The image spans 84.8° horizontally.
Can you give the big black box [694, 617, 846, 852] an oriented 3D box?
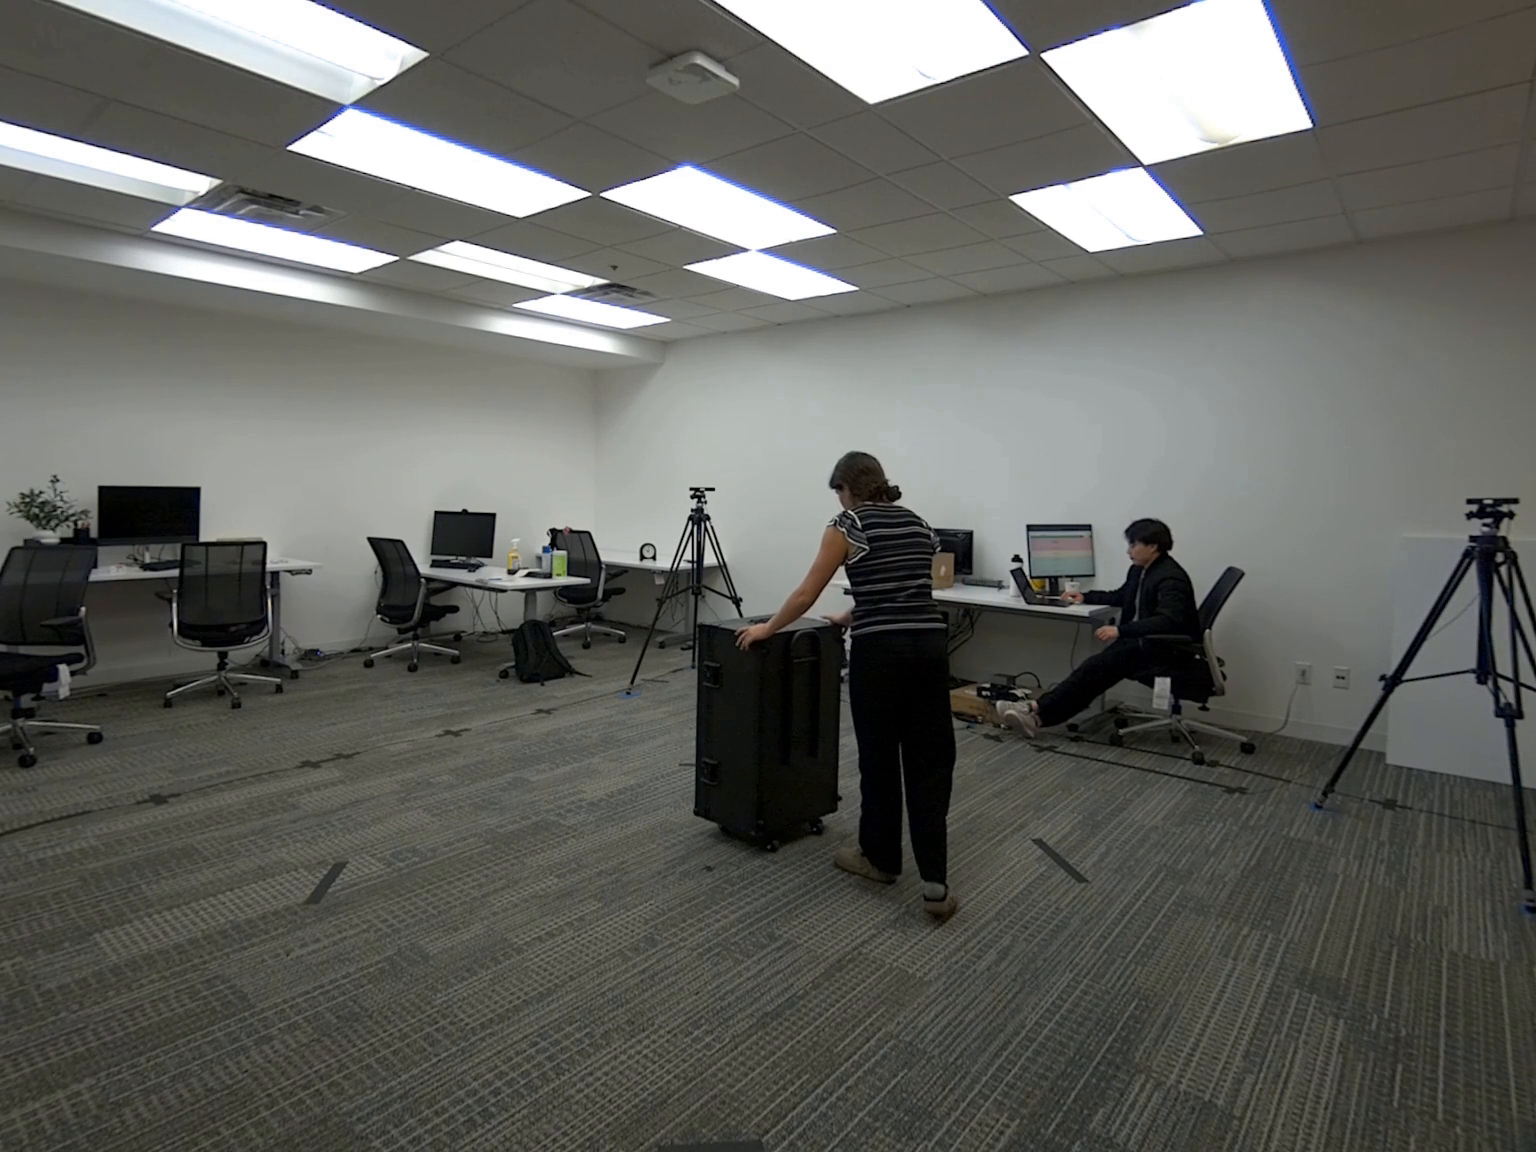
[{"bbox_3d":[0.003,0.614,3.451,0.505,0.859,0.410,-2,4,-44],"label":"big black box"}]
